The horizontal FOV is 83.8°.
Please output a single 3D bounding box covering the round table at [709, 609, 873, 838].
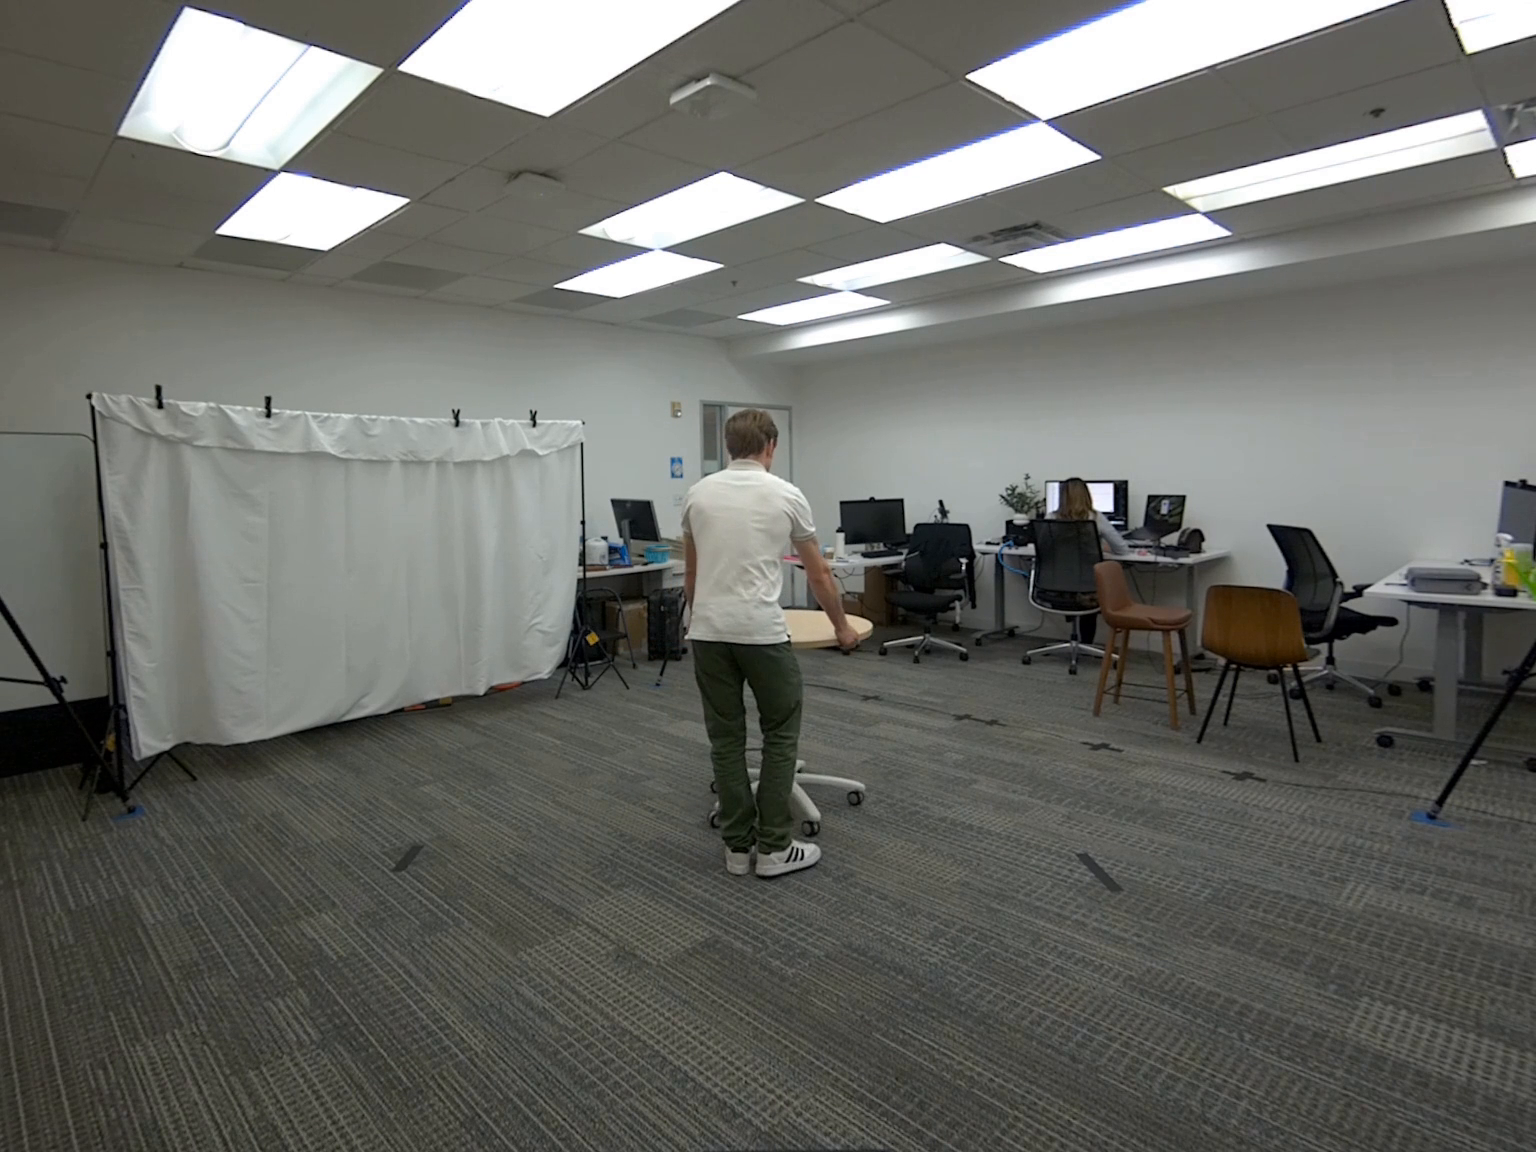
[{"bbox_3d":[0.063,0.599,3.632,0.763,0.790,0.768,-1,5,-2],"label":"round table"}]
